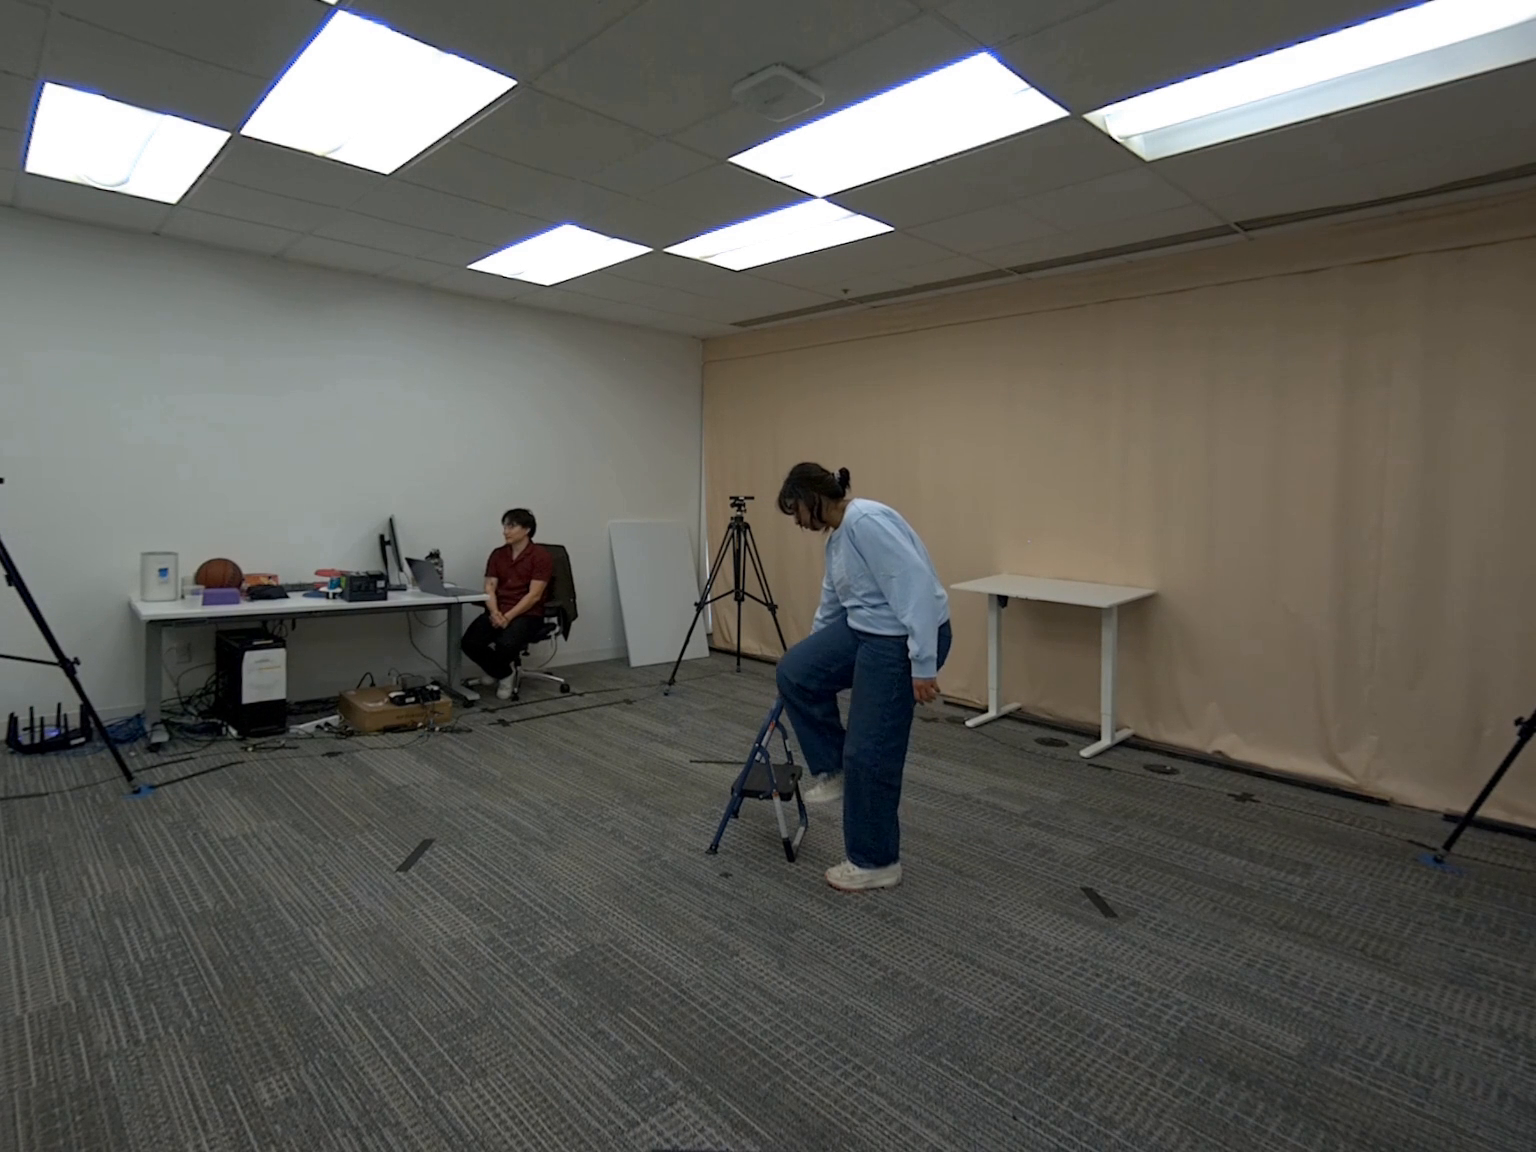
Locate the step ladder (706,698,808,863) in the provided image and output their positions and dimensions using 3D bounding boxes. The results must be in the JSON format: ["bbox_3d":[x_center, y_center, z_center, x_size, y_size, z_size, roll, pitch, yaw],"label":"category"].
[{"bbox_3d":[-0.029,0.775,3.443,0.353,0.605,0.427,2,4,11],"label":"step ladder"}]
